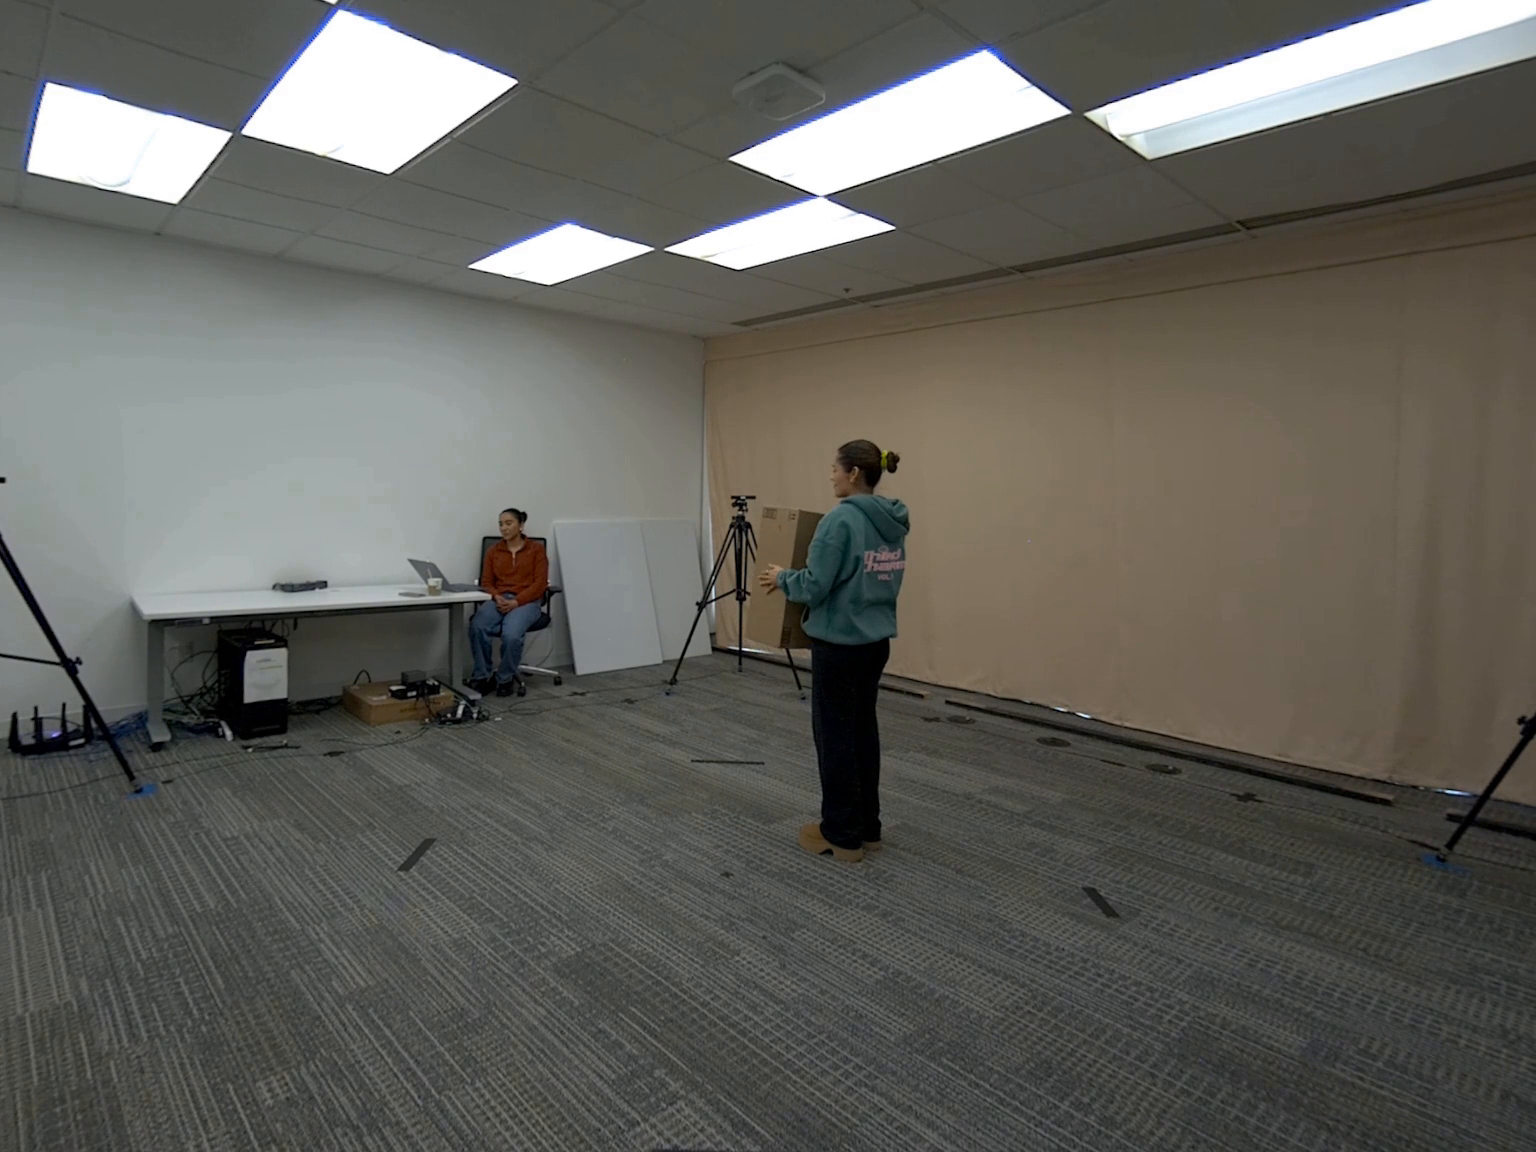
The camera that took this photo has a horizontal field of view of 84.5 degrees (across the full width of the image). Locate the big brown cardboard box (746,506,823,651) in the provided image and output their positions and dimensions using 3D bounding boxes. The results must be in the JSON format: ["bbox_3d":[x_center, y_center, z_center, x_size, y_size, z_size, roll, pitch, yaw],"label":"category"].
[{"bbox_3d":[0.154,0.016,3.588,0.407,0.588,0.239,6,3,-41],"label":"big brown cardboard box"}]
